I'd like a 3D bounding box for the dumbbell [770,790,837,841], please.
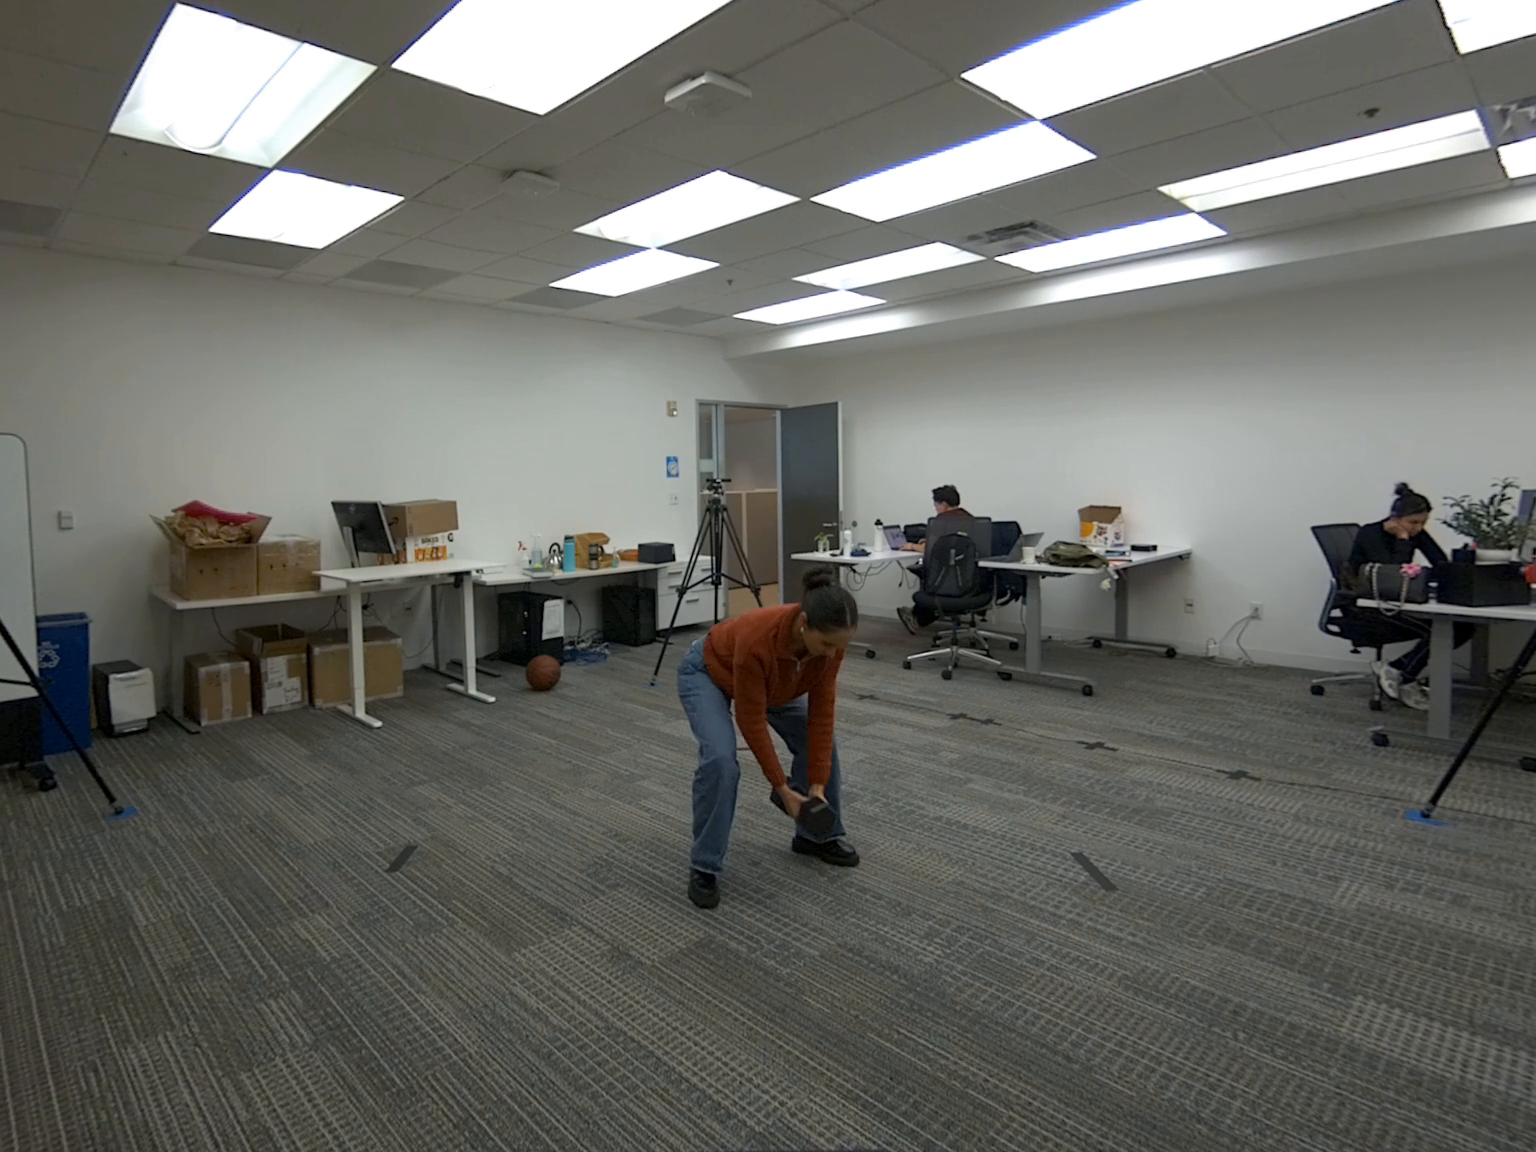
[{"bbox_3d":[0.108,0.769,2.864,0.109,0.120,0.301,-47,21,-11],"label":"dumbbell"}]
